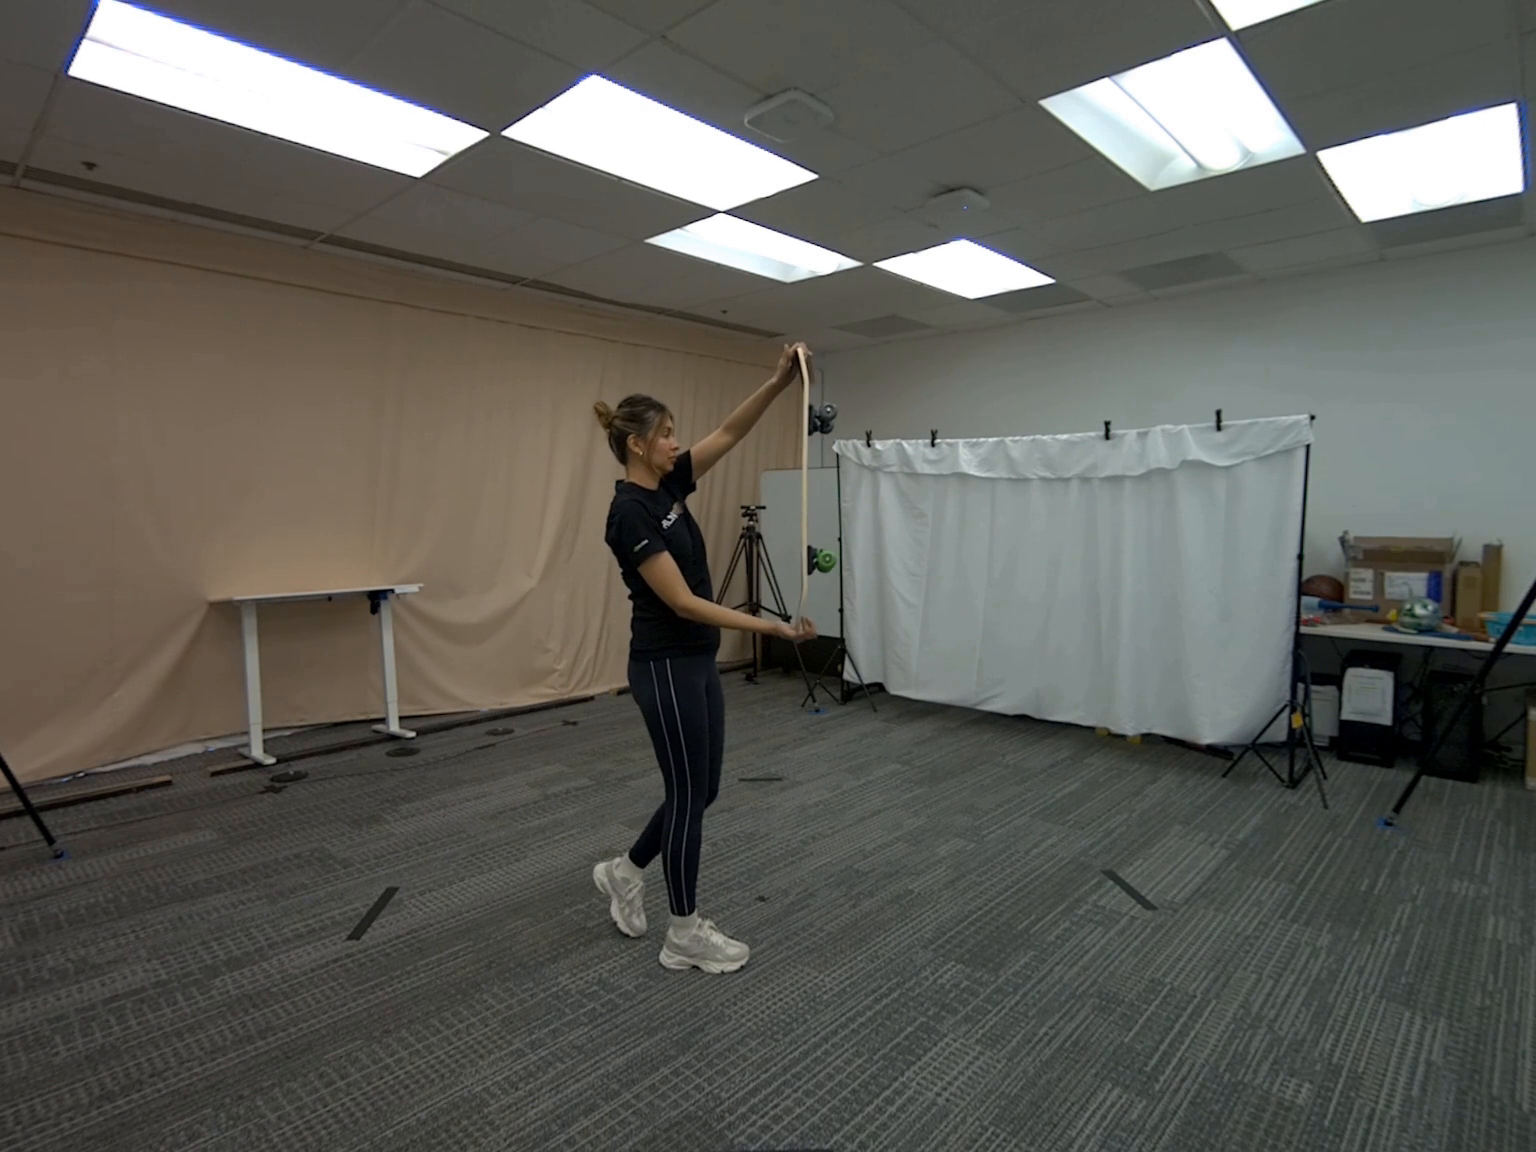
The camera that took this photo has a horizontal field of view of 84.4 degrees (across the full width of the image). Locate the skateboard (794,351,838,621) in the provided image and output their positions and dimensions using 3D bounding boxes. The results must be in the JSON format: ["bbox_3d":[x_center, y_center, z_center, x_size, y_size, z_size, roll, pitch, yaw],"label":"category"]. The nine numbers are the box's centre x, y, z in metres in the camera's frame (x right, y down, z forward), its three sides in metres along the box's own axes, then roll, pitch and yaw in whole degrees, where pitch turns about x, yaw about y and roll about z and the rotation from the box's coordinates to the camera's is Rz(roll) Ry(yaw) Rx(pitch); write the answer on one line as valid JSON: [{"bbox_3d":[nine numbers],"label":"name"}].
[{"bbox_3d":[0.135,-0.237,2.316,0.111,0.787,0.191,1,-4,6],"label":"skateboard"}]
